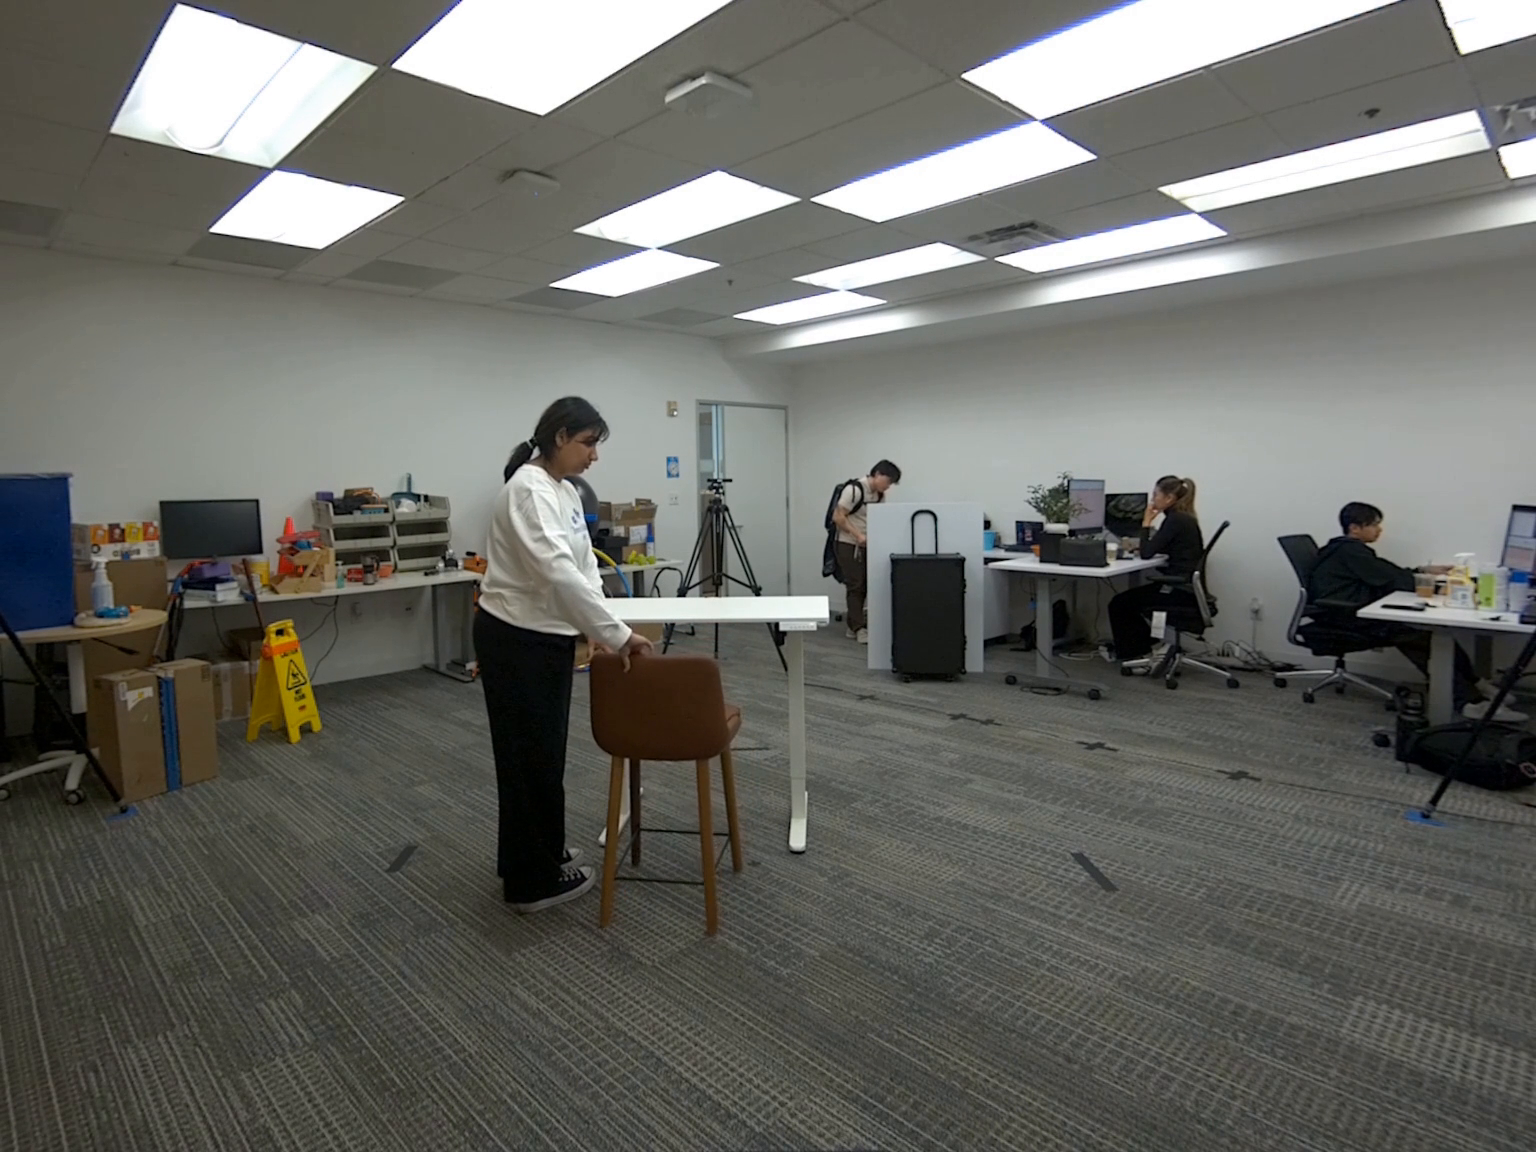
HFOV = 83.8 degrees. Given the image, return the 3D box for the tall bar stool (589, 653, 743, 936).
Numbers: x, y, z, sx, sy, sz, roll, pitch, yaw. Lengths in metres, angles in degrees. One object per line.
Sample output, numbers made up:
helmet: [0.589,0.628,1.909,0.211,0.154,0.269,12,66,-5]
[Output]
tall bar stool: [-0.325,0.644,2.830,0.461,0.884,0.466,-1,7,9]
